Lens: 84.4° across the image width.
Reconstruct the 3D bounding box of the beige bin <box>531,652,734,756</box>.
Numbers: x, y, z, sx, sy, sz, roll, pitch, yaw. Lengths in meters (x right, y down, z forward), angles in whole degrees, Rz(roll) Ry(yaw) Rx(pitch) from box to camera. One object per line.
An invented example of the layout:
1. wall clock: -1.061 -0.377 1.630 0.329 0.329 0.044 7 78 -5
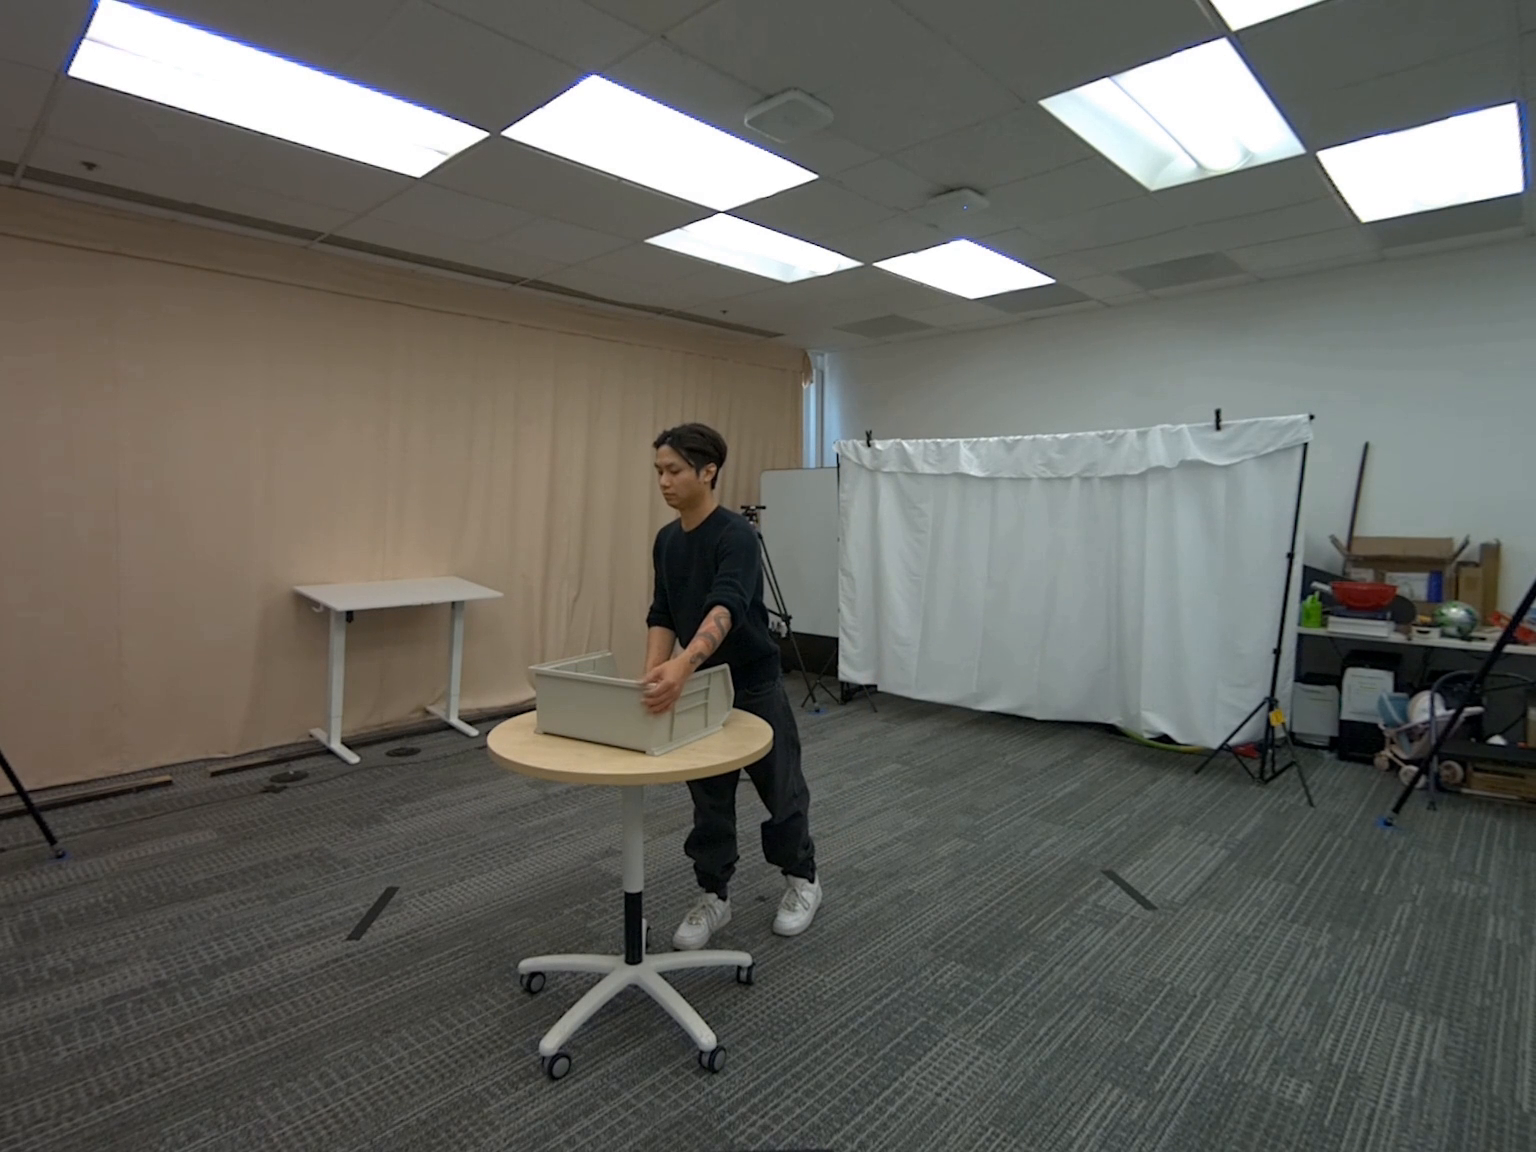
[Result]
1. beige bin: -0.368 0.335 2.298 0.435 0.188 0.367 3 6 30
